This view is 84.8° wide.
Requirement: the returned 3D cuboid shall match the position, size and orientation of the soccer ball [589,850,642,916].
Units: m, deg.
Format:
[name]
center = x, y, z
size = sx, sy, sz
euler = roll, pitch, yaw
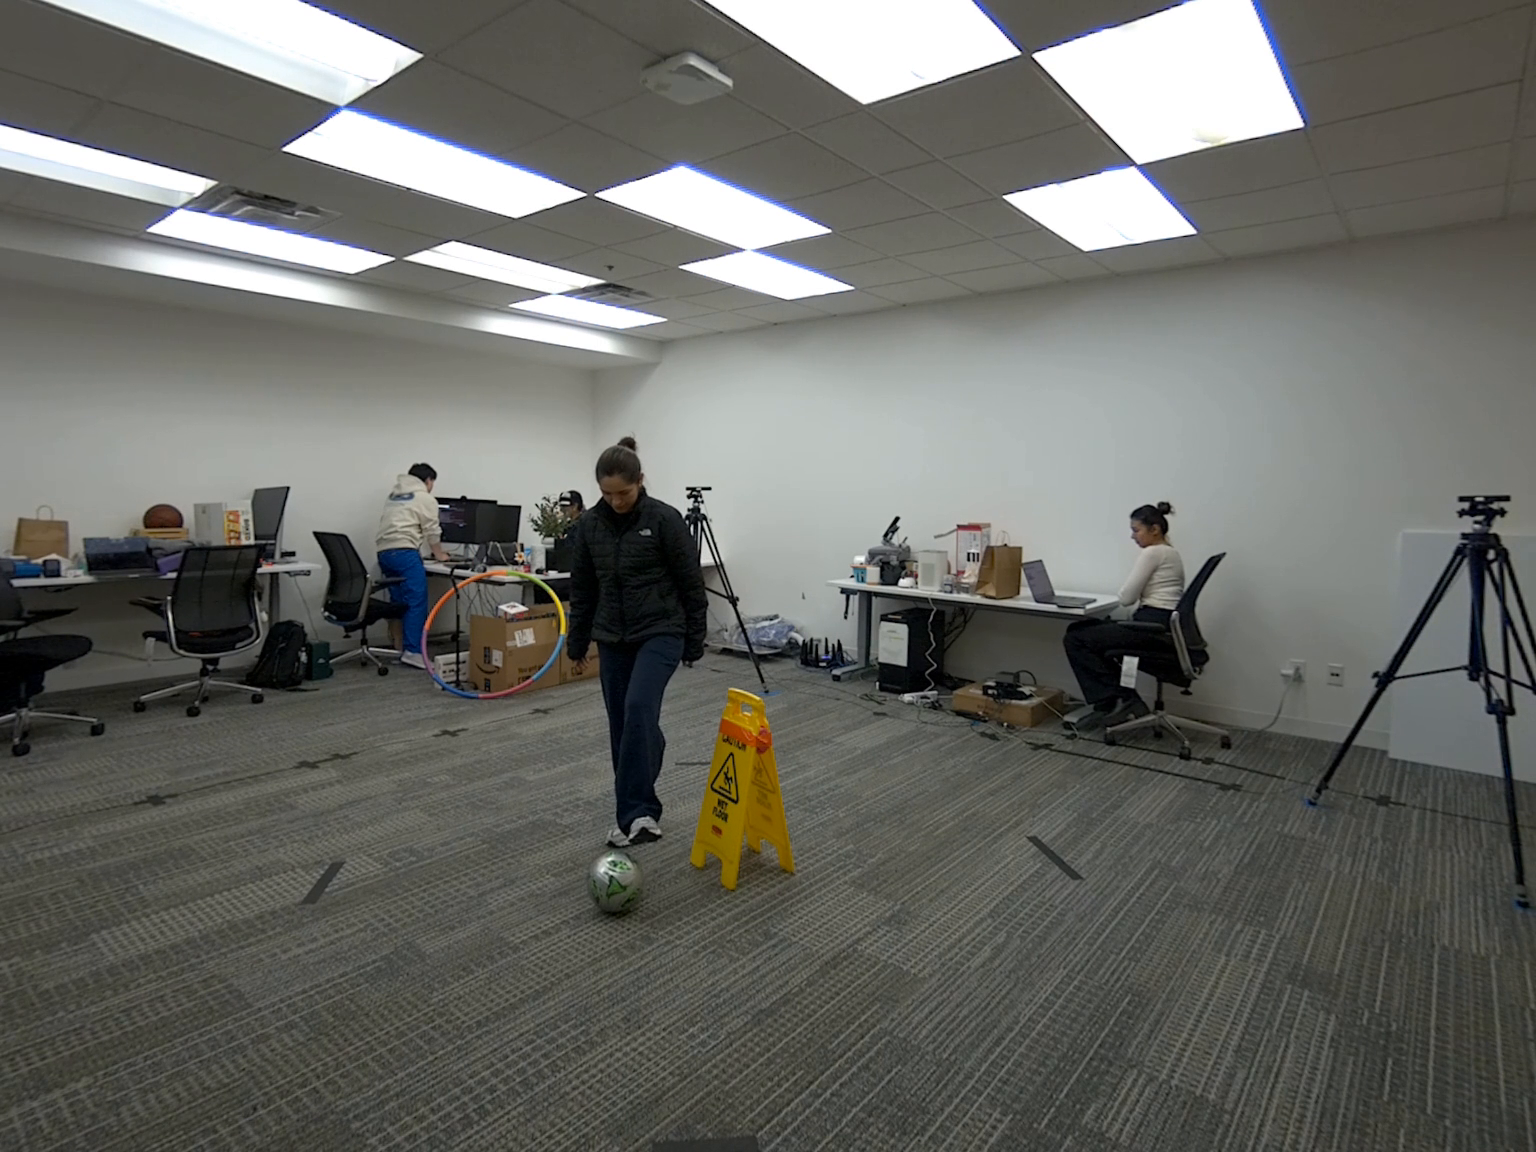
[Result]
[soccer ball]
center = -0.514, 0.992, 2.786
size = 0.187, 0.187, 0.188
euler = 1, 4, -2
